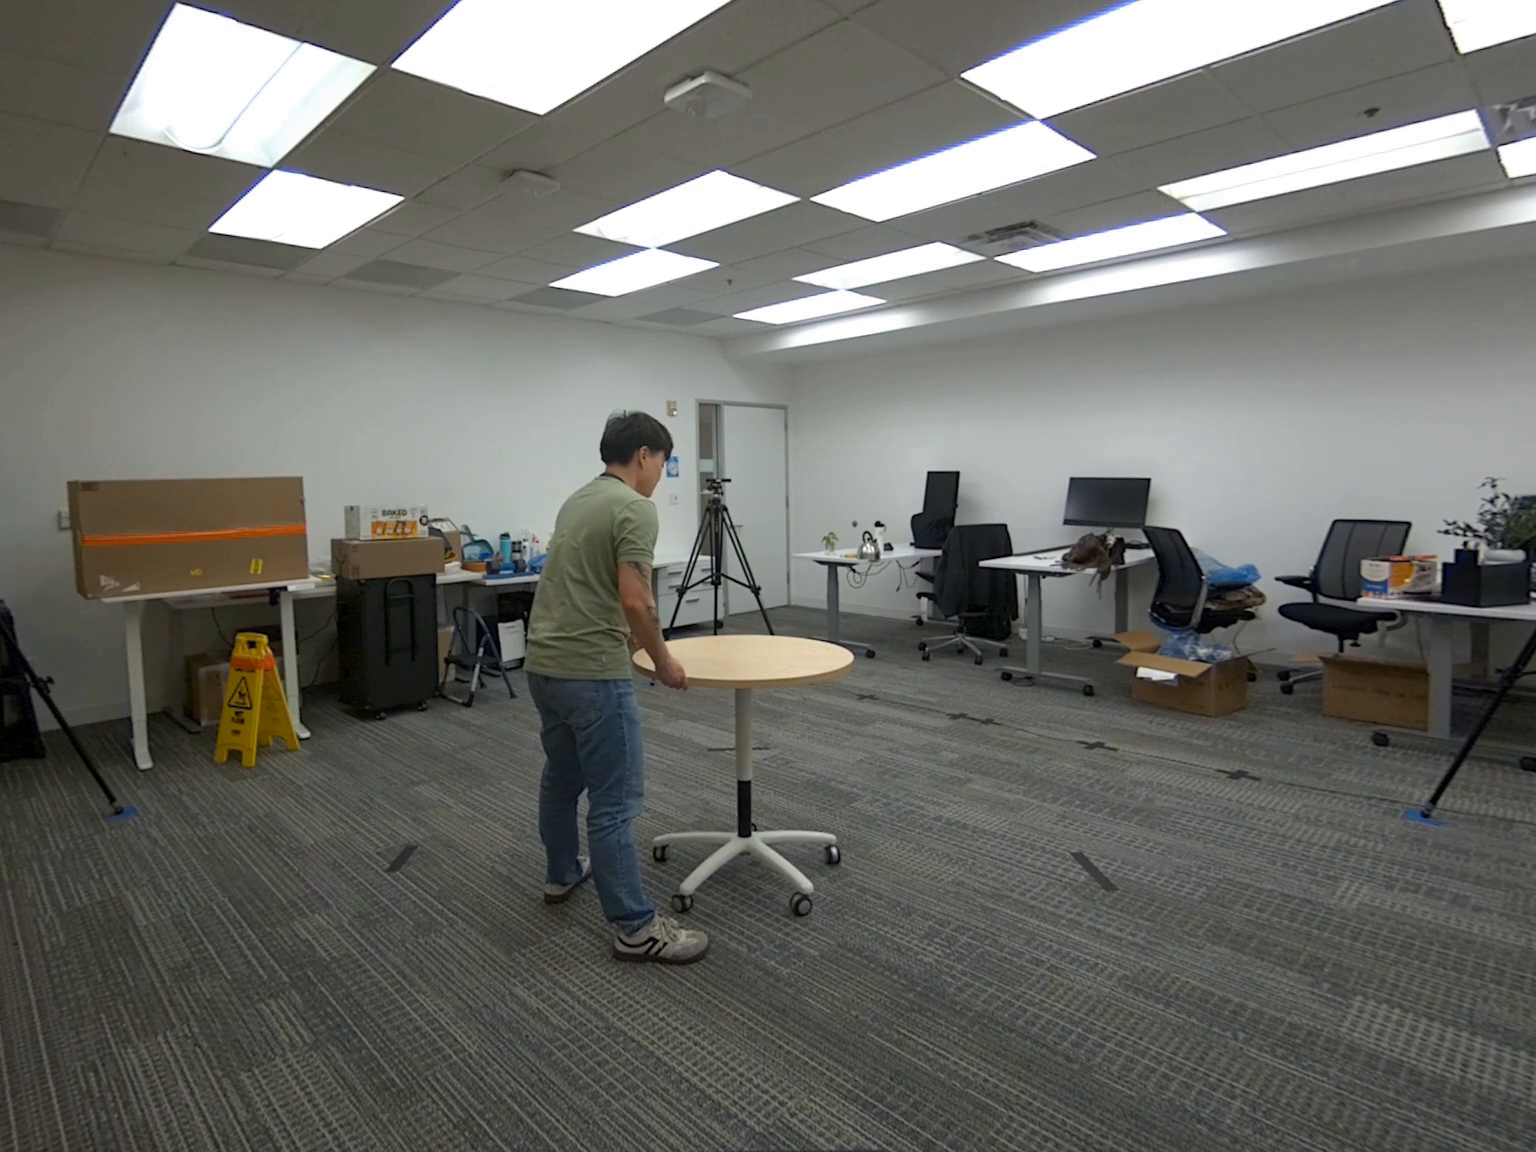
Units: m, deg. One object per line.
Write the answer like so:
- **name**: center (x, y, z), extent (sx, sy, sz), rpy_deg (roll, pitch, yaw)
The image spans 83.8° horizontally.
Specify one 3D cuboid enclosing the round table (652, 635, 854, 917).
- **round table**: center (-0.079, 0.666, 3.003), extent (0.763, 0.791, 0.768), rpy_deg (-1, 5, -2)
